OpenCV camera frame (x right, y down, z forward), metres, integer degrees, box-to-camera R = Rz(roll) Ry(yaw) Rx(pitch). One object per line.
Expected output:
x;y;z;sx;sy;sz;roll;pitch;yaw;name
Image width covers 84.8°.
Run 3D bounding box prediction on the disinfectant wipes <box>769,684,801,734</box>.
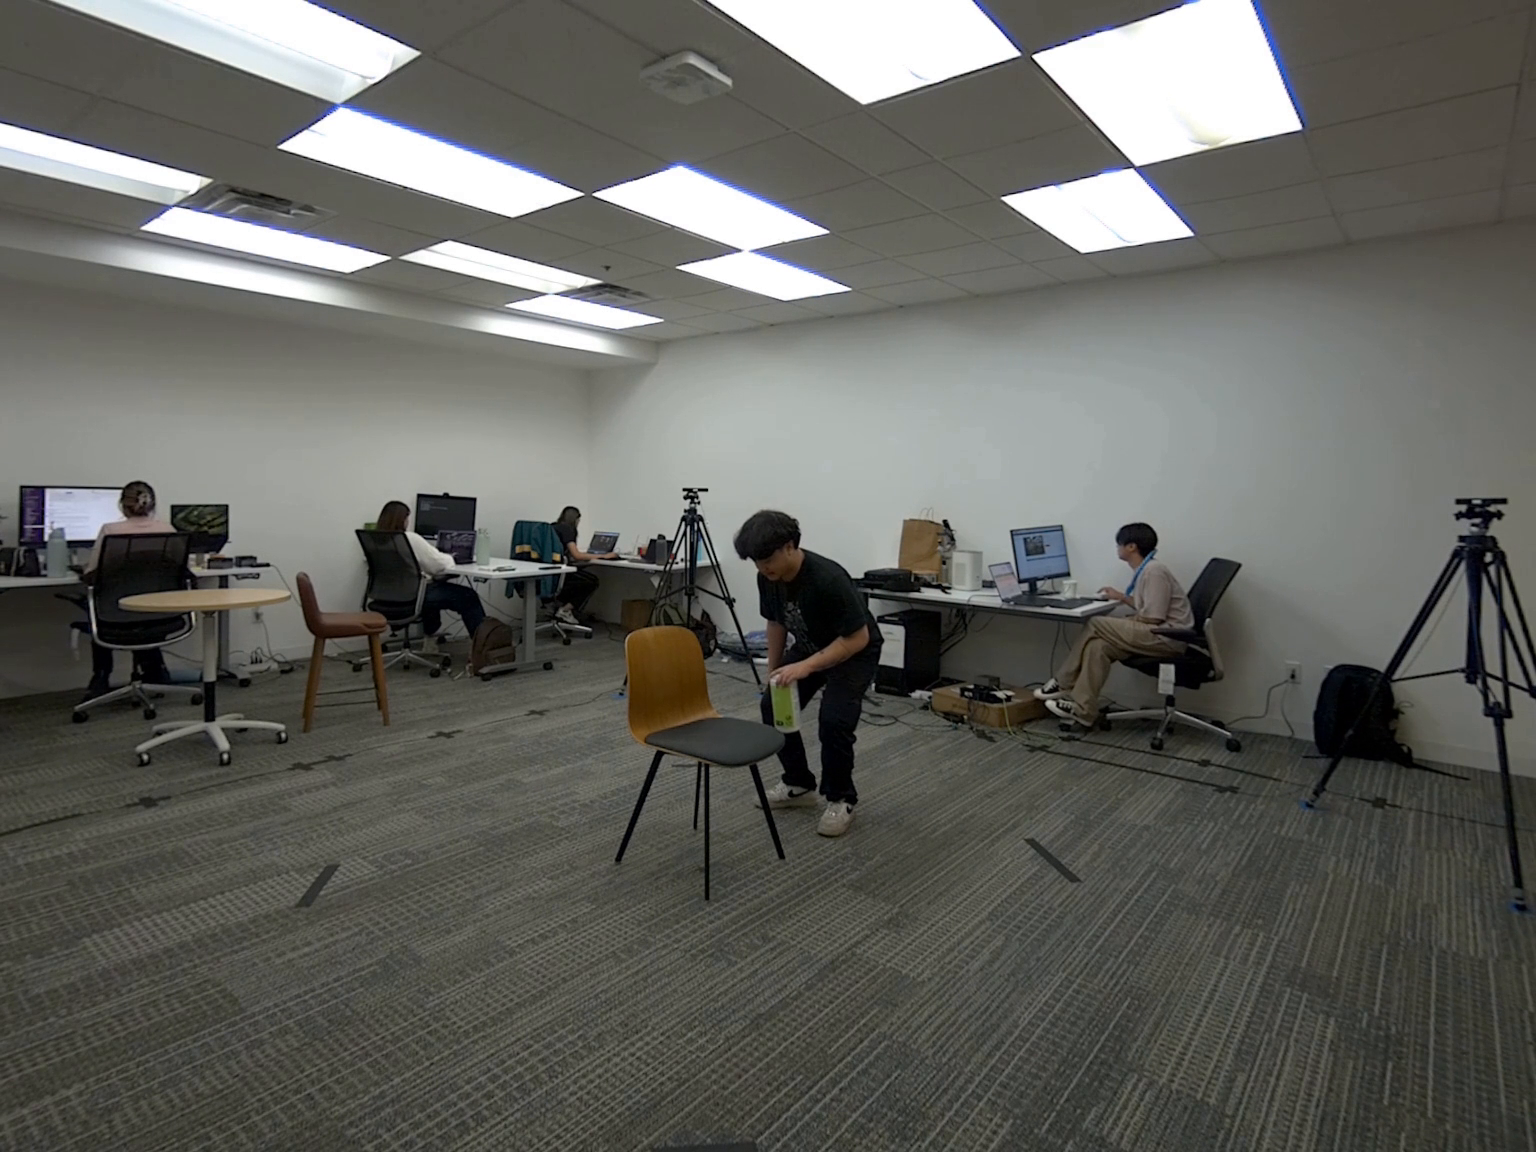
0.062;0.513;3.408;0.118;0.216;0.118;-4;5;-1;disinfectant wipes
